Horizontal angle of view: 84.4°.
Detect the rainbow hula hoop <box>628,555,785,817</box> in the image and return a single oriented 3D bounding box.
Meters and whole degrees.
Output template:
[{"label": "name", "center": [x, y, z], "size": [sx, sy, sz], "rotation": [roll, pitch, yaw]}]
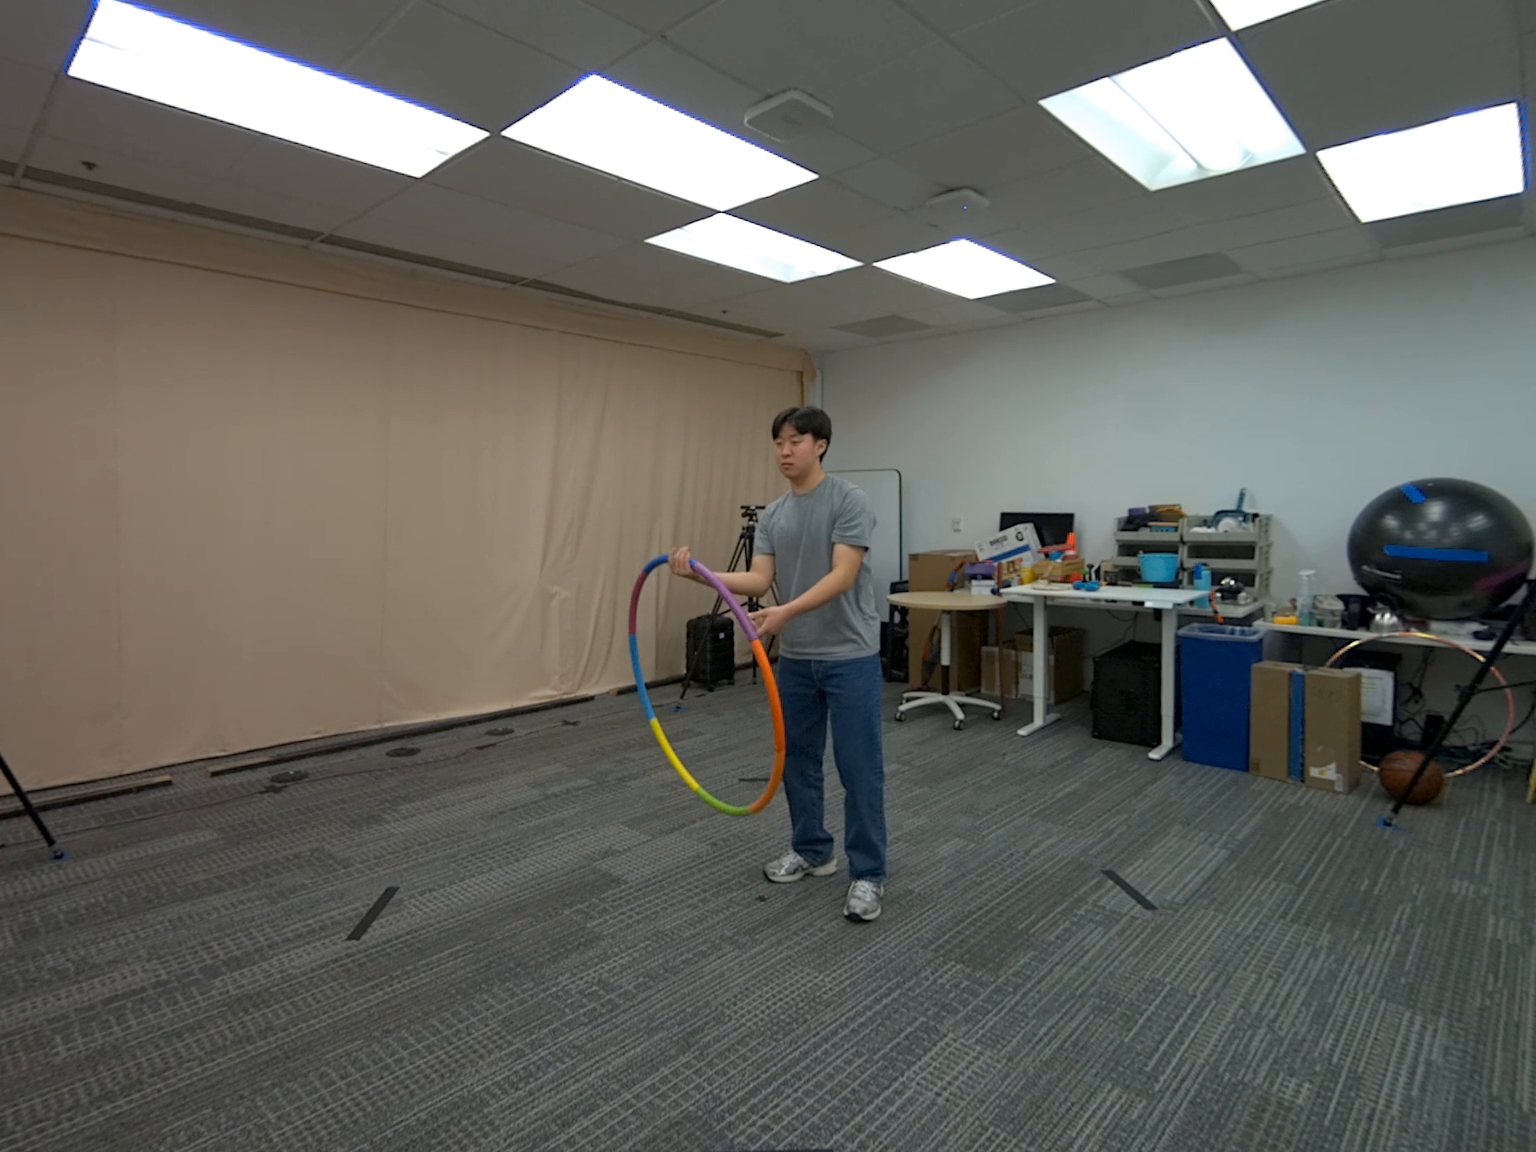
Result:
[{"label": "rainbow hula hoop", "center": [-0.259, 0.411, 3.092], "size": [0.035, 0.971, 1.010], "rotation": [-15, 12, -34]}]
